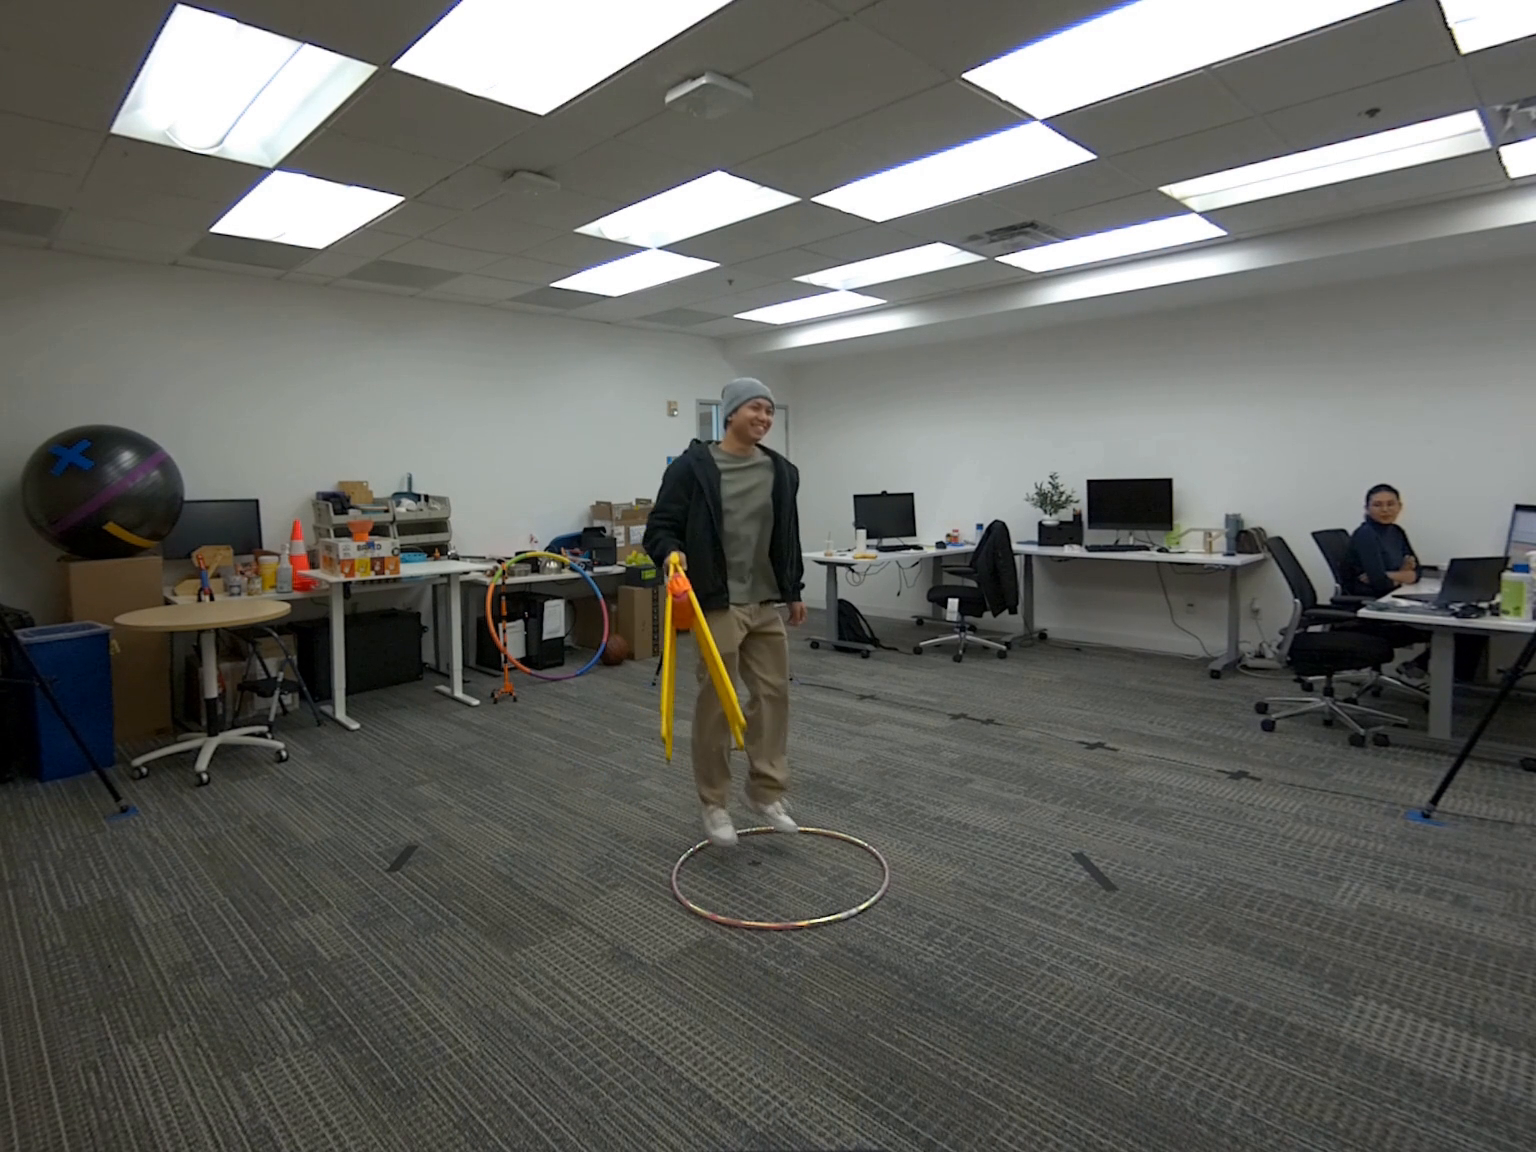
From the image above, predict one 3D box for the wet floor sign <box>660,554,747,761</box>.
[{"bbox_3d":[-0.267,0.269,2.833,0.289,0.664,0.275,-9,-29,-5],"label":"wet floor sign"}]
